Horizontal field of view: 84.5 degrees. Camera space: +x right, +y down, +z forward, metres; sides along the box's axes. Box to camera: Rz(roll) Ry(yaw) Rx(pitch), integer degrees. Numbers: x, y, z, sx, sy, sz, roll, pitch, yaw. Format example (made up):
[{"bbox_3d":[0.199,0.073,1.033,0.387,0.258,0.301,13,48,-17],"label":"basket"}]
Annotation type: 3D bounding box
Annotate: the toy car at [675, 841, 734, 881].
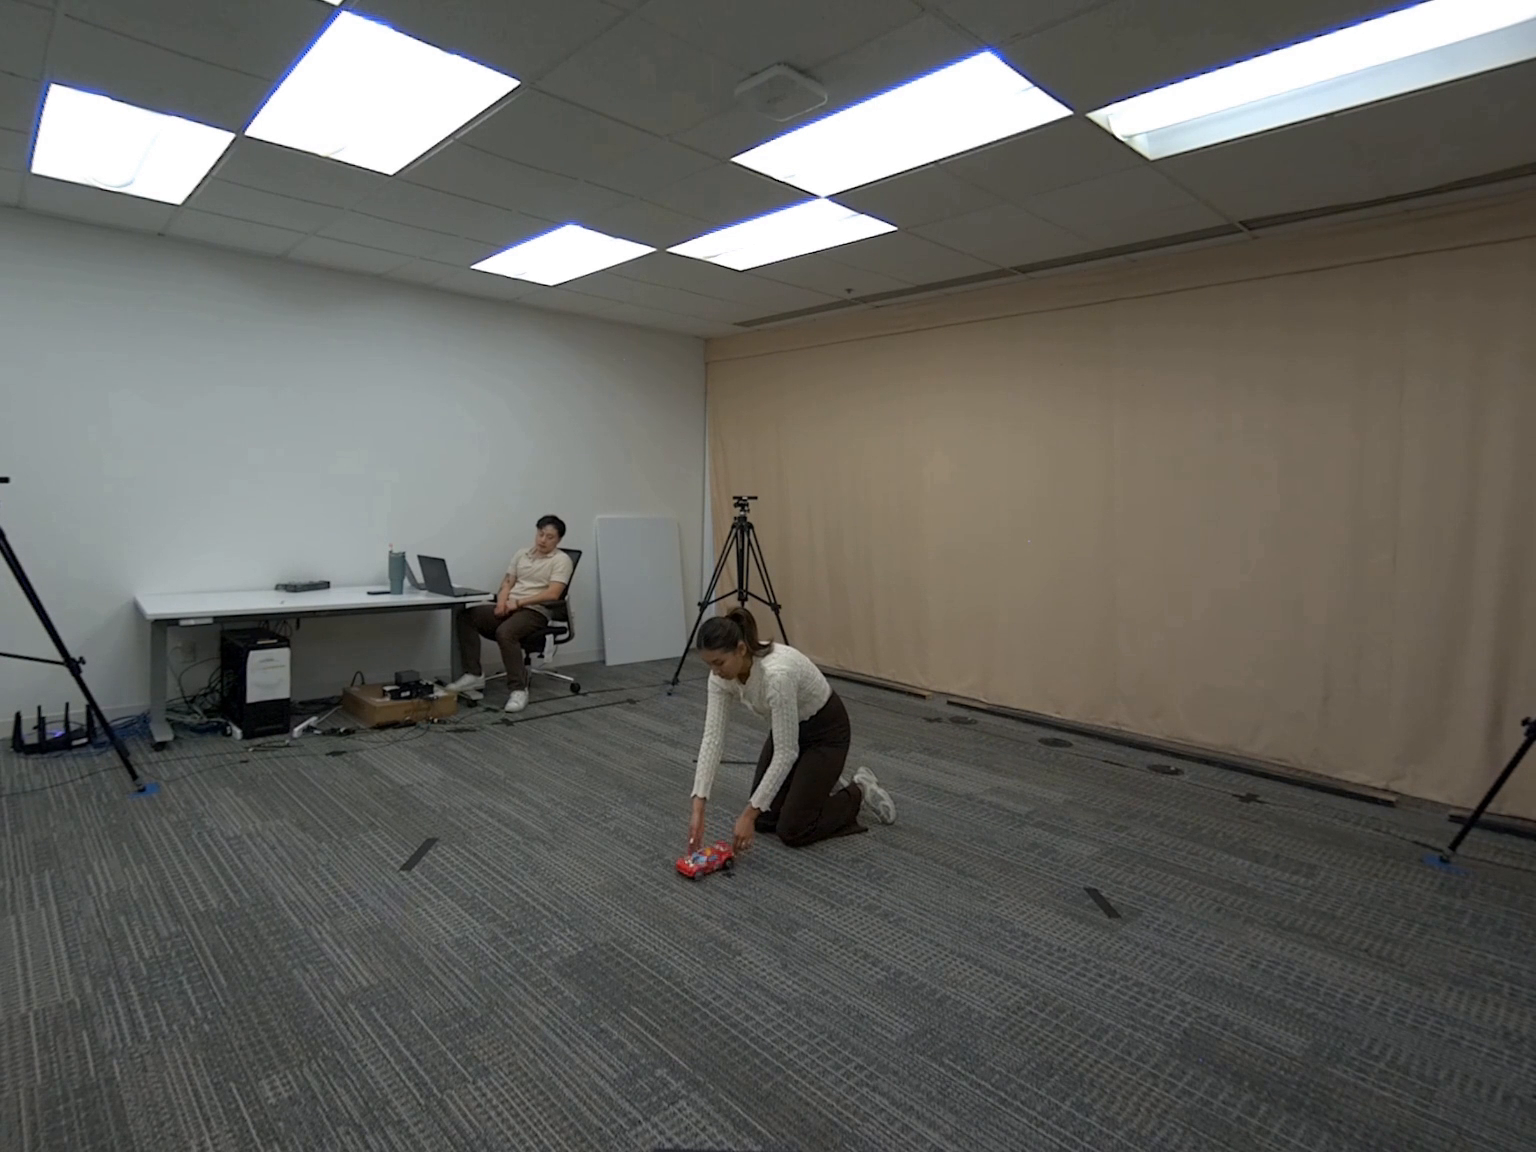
[{"bbox_3d":[-0.230,1.066,3.144,0.250,0.082,0.134,-17,15,-41],"label":"toy car"}]
